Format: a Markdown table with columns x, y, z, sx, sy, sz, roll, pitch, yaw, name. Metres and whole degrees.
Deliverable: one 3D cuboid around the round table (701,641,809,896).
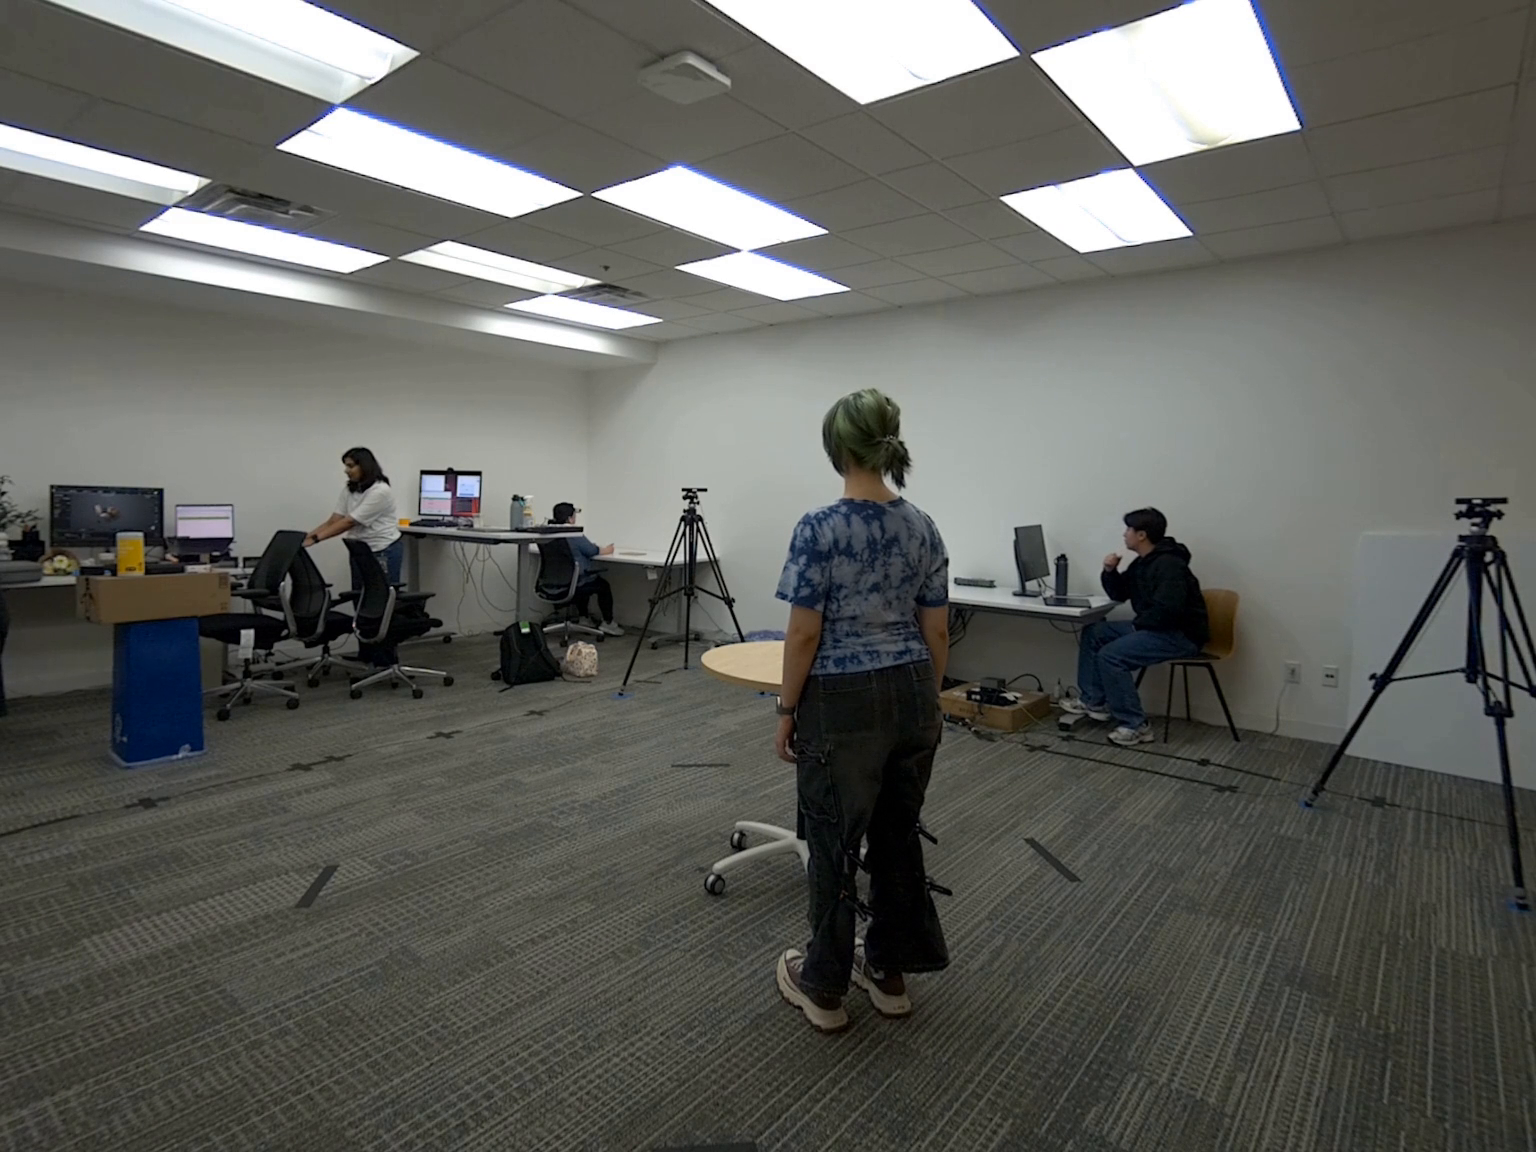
| x | y | z | sx | sy | sz | roll | pitch | yaw | name |
| --- | --- | --- | --- | --- | --- | --- | --- | --- | --- |
| 0.115 | 0.693 | 3.051 | 0.763 | 0.791 | 0.768 | 1 | 4 | -2 | round table |
